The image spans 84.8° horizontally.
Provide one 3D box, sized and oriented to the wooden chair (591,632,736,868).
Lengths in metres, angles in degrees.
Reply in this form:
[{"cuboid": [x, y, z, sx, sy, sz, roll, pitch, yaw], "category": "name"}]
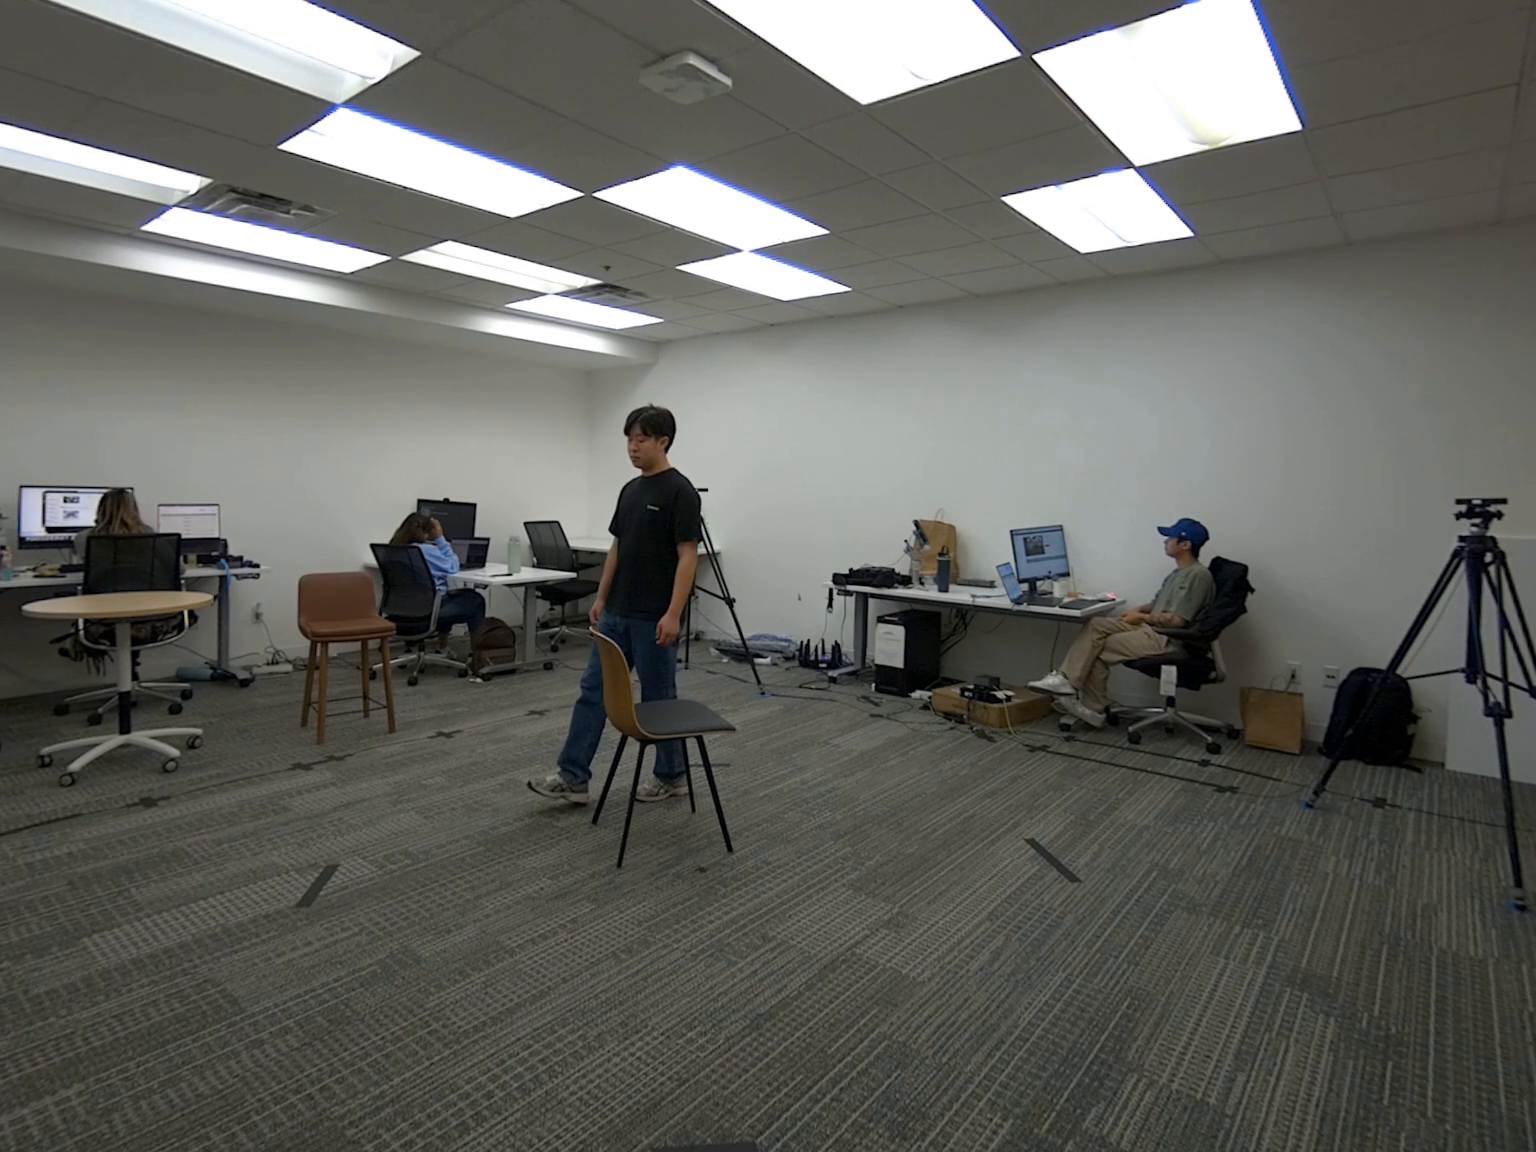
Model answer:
[{"cuboid": [-0.427, 0.612, 3.365, 0.513, 0.874, 0.490, -4, 5, -22], "category": "wooden chair"}]
